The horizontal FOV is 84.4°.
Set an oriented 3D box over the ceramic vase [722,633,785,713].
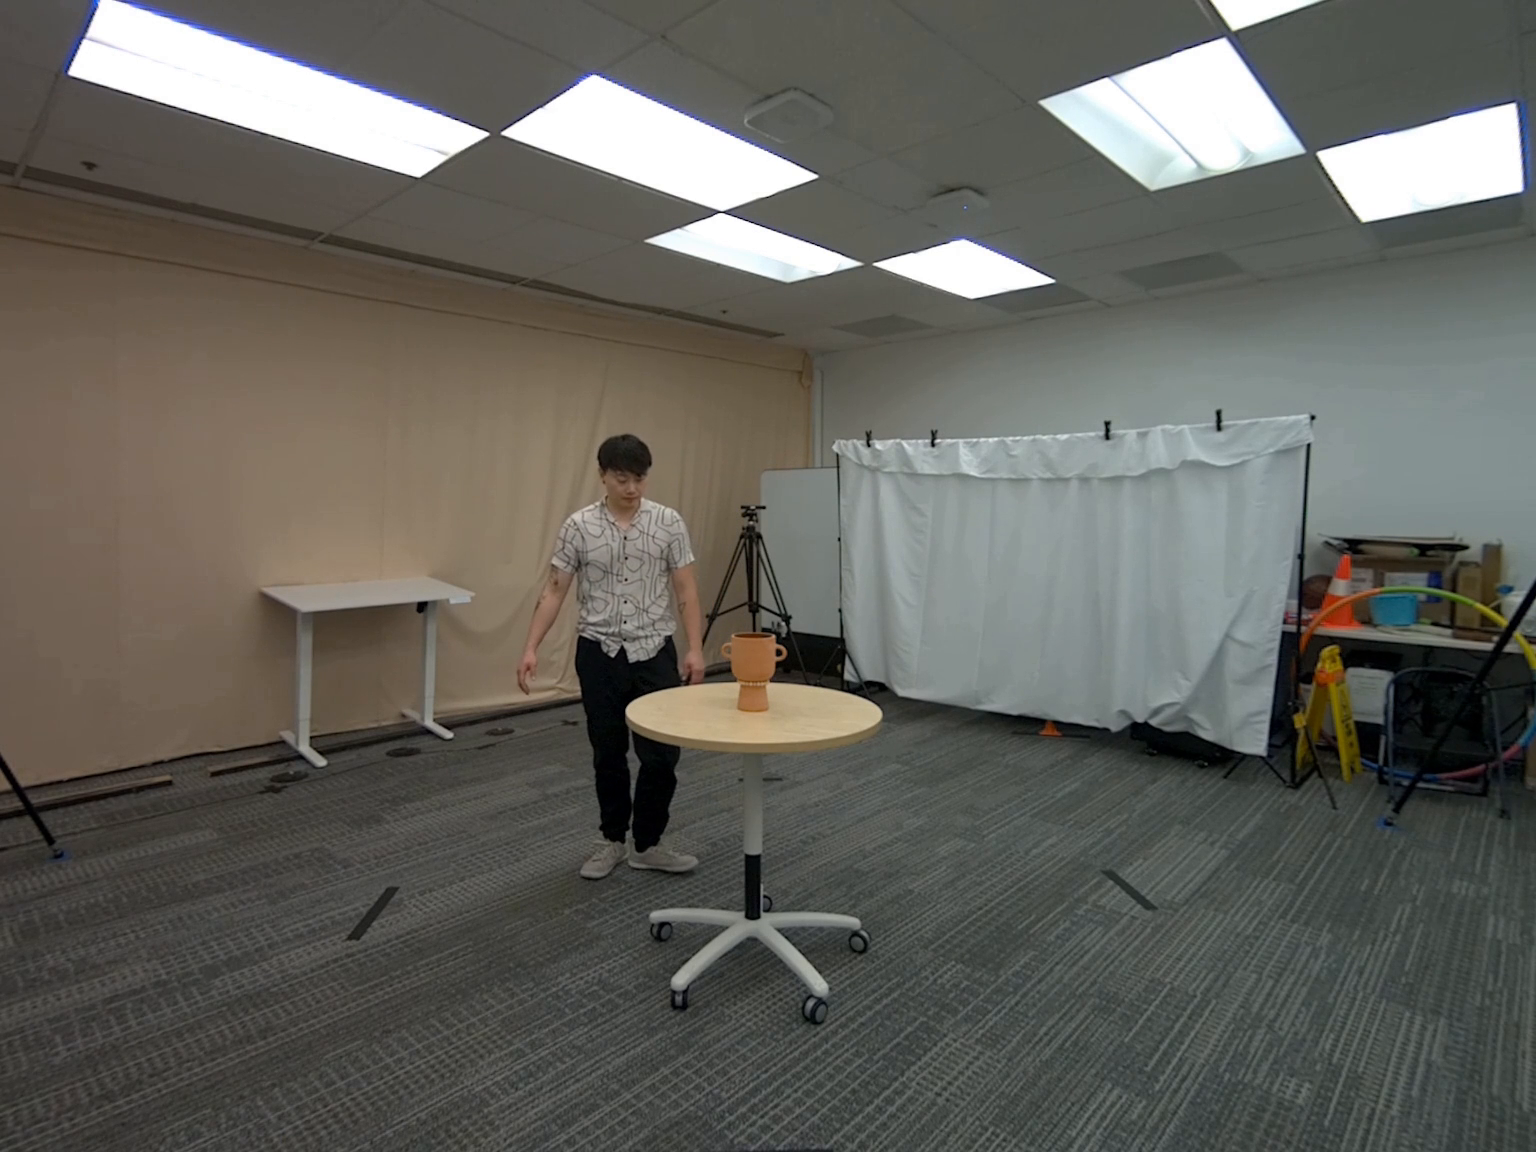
[{"bbox_3d":[-0.040,0.292,2.524,0.130,0.219,0.164,-2,4,-41],"label":"ceramic vase"}]
